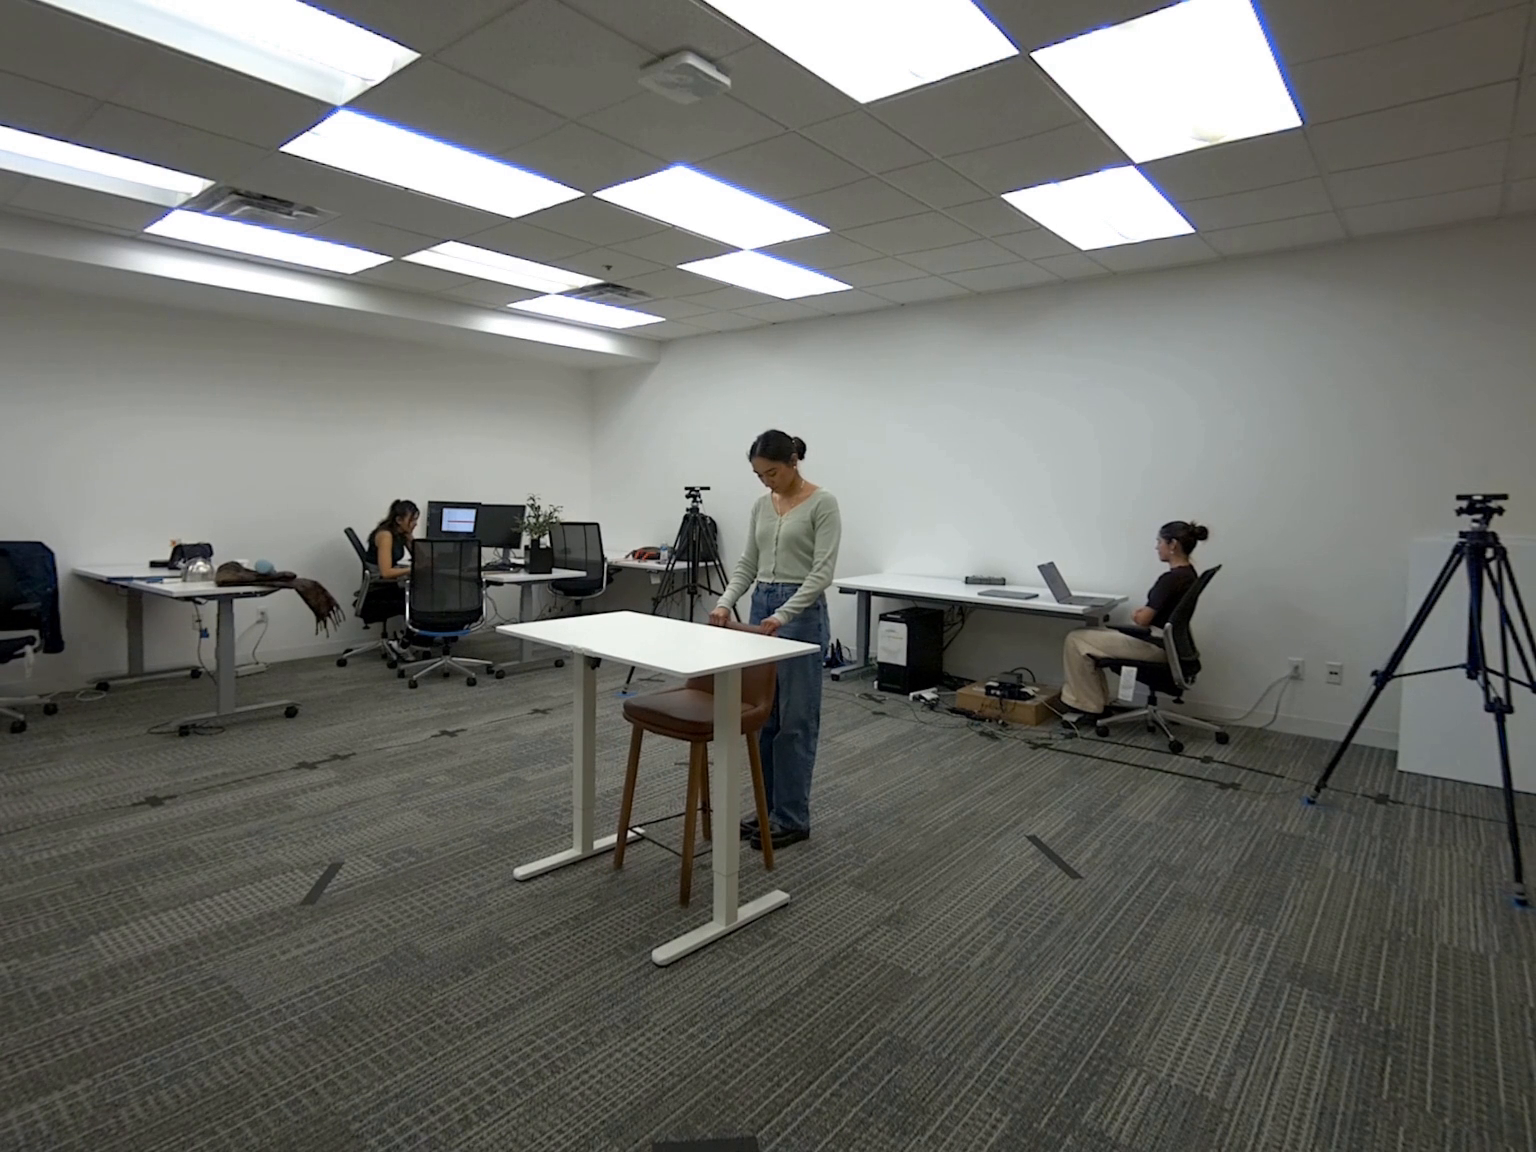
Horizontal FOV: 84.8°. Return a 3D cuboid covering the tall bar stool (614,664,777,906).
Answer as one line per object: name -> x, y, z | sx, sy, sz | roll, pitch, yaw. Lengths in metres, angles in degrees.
tall bar stool -> -0.255, 0.629, 3.091 | 0.452, 0.889, 0.472 | 1, 1, -44
